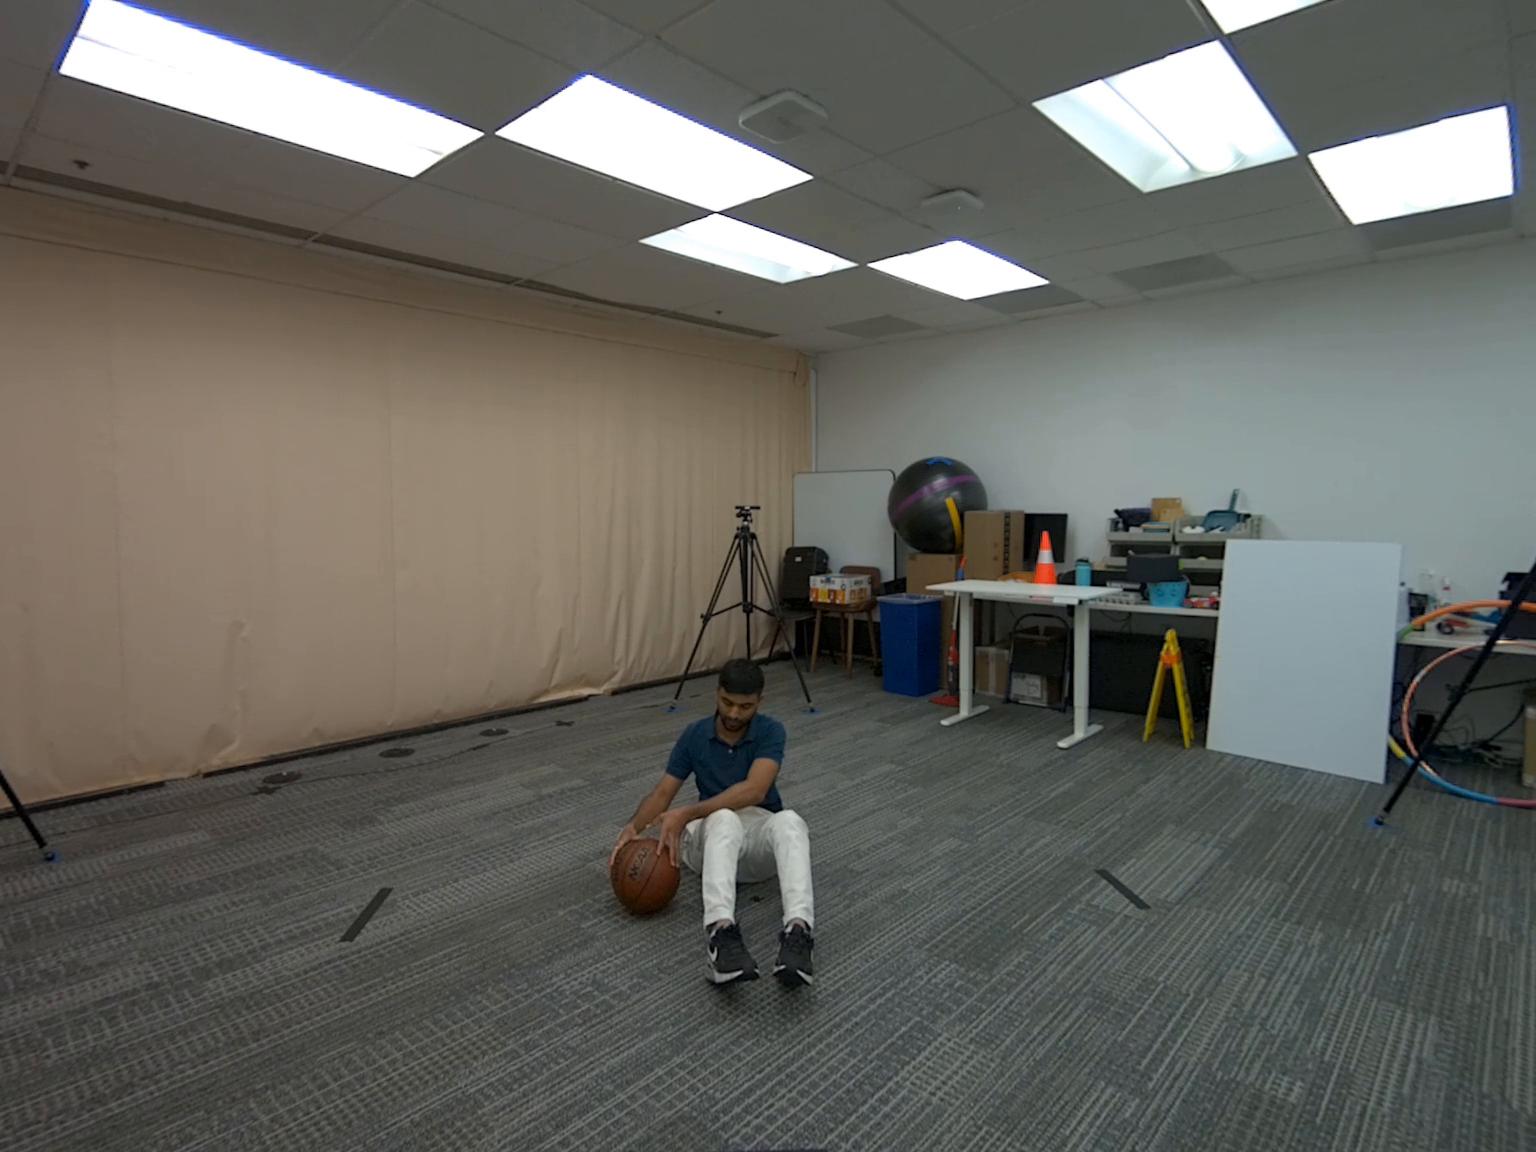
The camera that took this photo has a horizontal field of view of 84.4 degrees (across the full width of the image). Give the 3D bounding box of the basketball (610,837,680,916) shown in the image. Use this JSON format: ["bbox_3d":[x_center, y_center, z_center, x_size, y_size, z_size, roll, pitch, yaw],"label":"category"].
[{"bbox_3d":[-0.423,1.008,2.900,0.236,0.235,0.237,0,4,-2],"label":"basketball"}]
